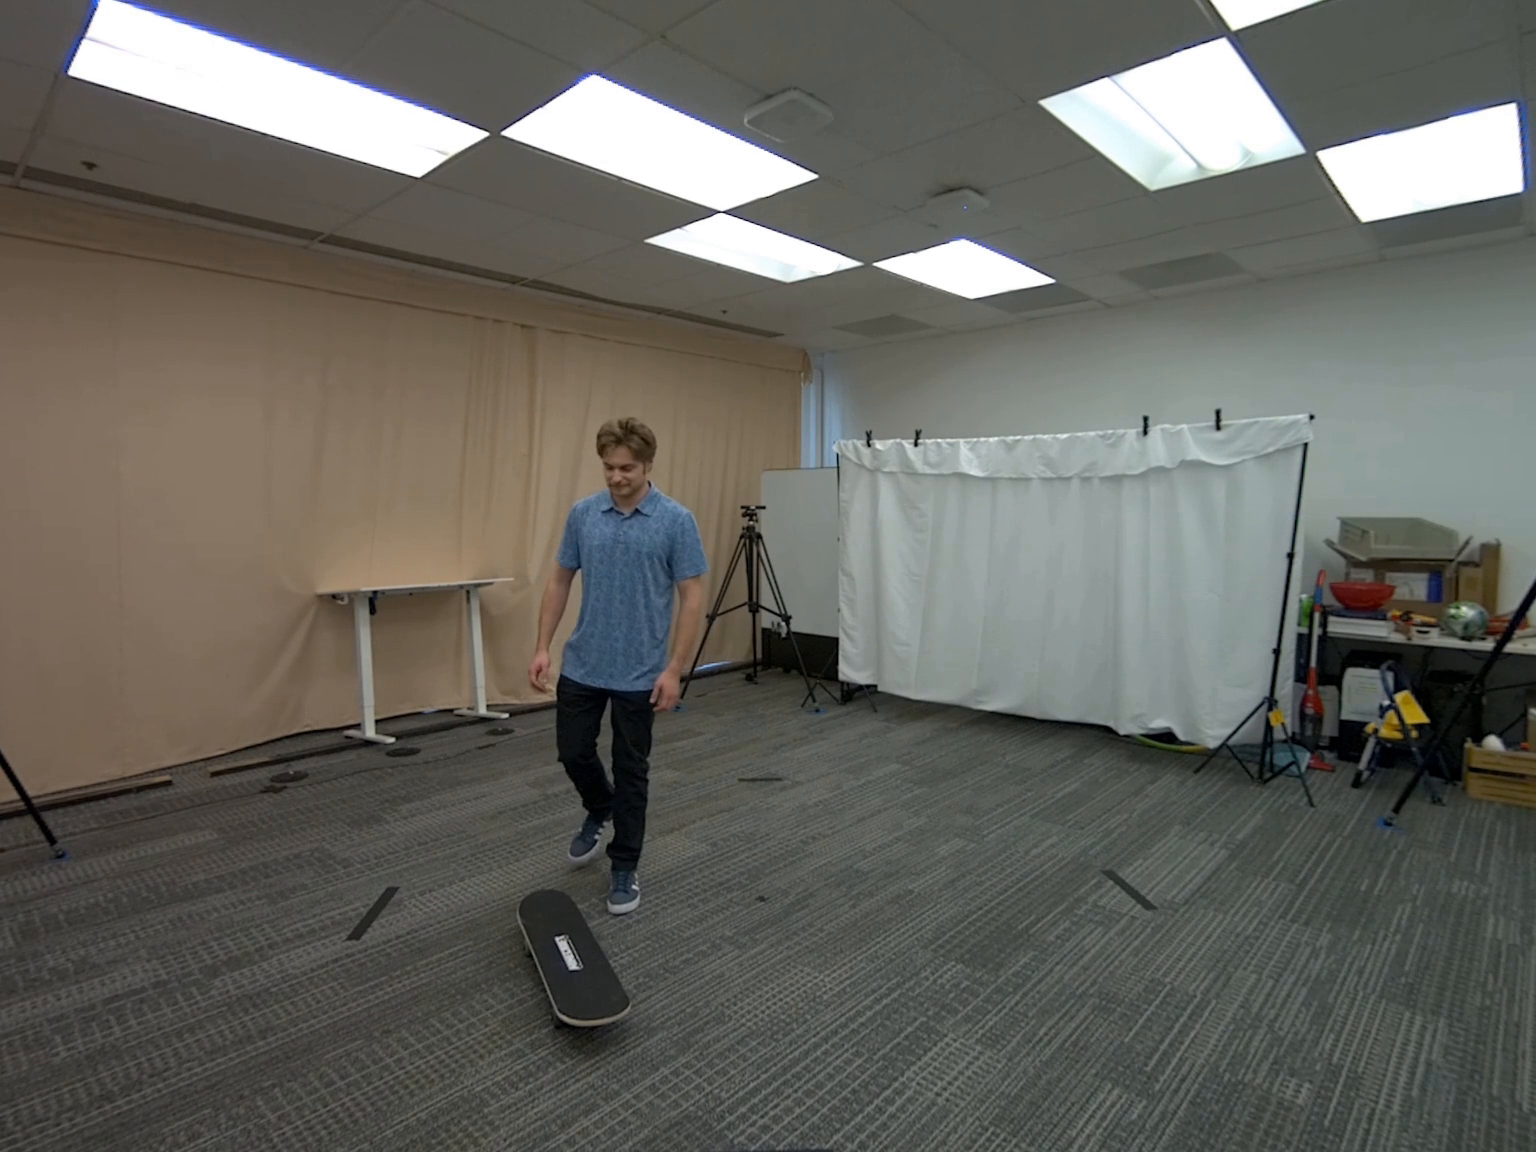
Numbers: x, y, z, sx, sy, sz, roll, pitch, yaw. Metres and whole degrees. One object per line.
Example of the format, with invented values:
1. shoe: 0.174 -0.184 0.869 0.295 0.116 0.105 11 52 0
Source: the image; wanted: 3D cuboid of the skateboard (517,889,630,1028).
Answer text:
1. skateboard: -0.581 1.132 2.474 0.189 0.110 0.805 -2 4 -26
